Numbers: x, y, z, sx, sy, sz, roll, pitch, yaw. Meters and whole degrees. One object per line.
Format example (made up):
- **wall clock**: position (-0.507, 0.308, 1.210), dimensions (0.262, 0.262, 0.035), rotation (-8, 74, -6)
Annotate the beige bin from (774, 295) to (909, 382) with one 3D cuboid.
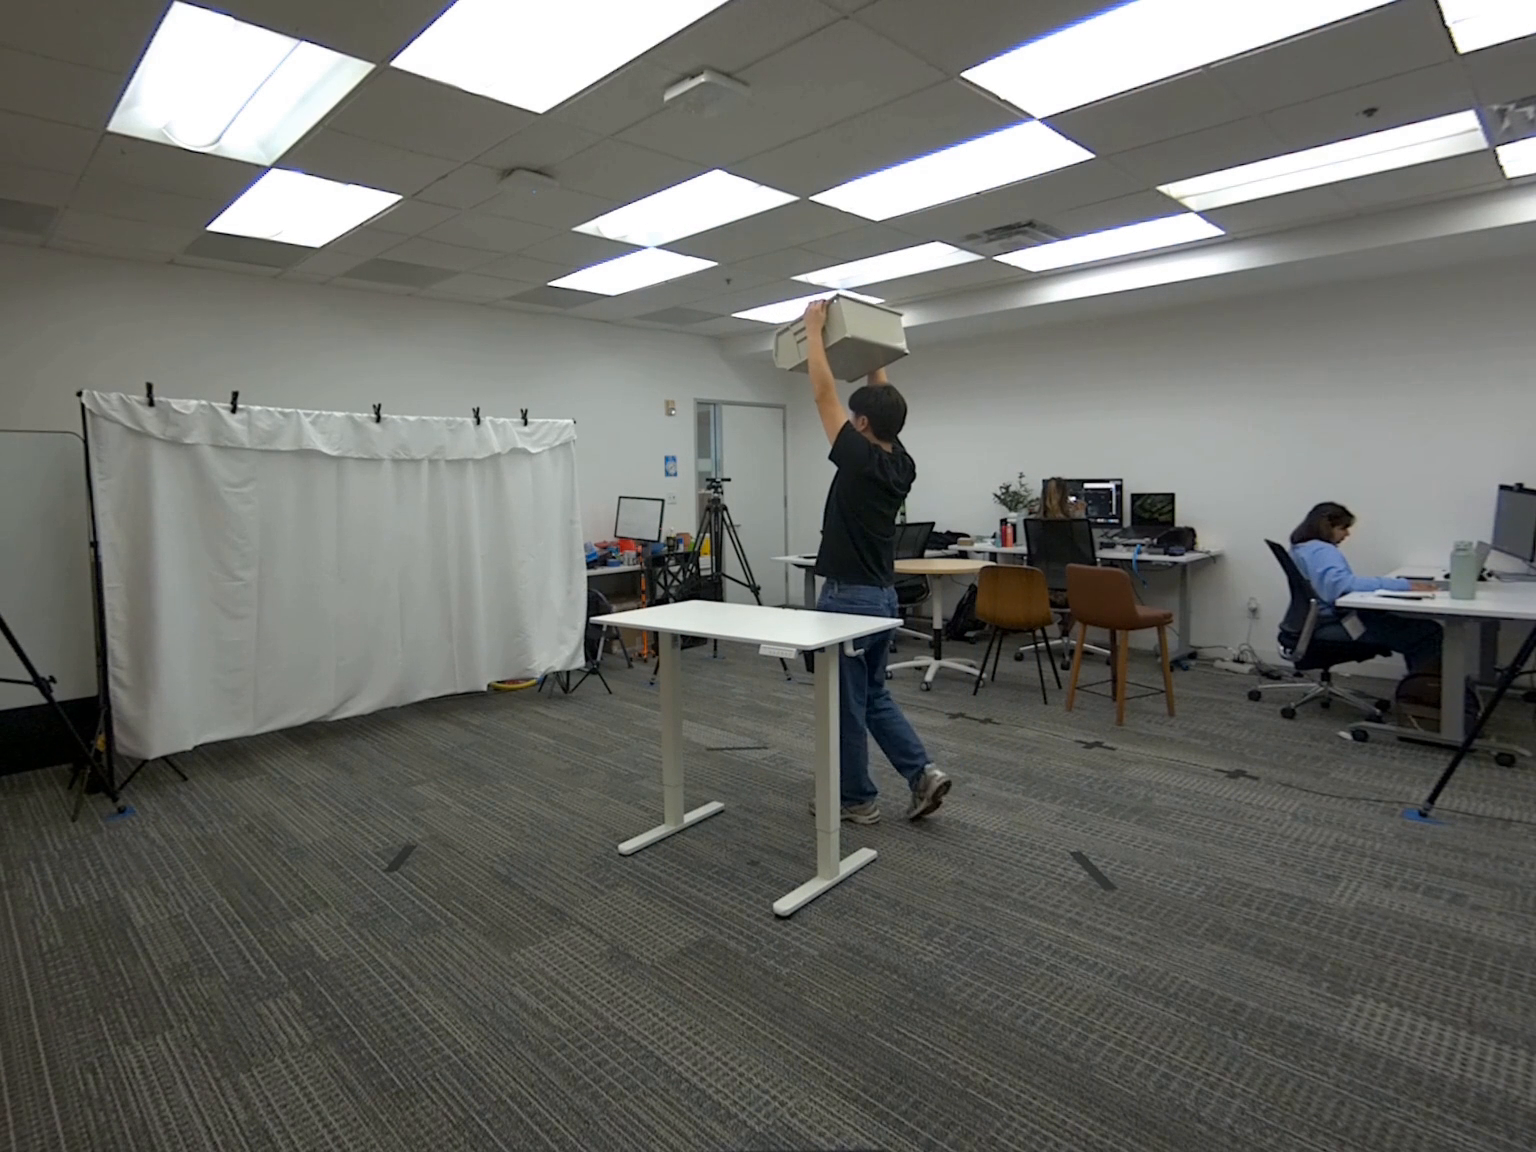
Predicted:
- **beige bin**: position (0.295, -0.943, 3.472), dimensions (0.410, 0.191, 0.384), rotation (-1, -13, -45)
